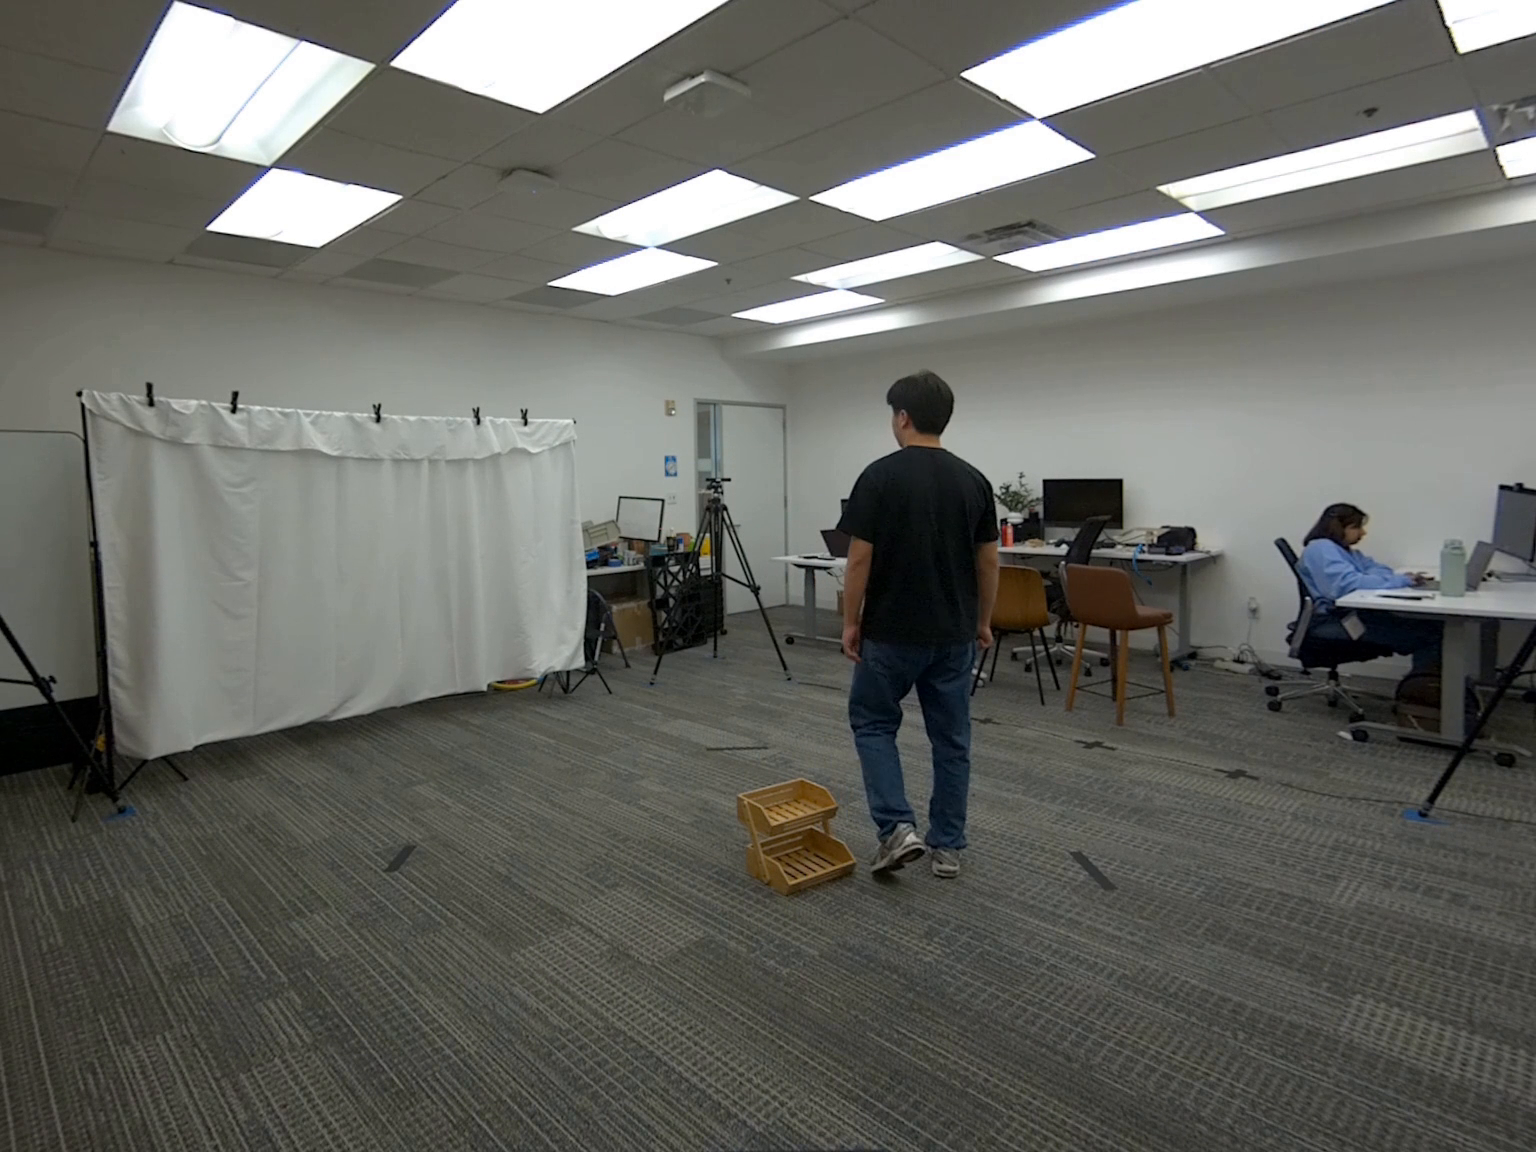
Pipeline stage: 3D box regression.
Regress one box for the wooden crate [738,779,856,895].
[{"bbox_3d":[0.108,0.913,3.036,0.316,0.272,0.311,-4,5,-35],"label":"wooden crate"}]
